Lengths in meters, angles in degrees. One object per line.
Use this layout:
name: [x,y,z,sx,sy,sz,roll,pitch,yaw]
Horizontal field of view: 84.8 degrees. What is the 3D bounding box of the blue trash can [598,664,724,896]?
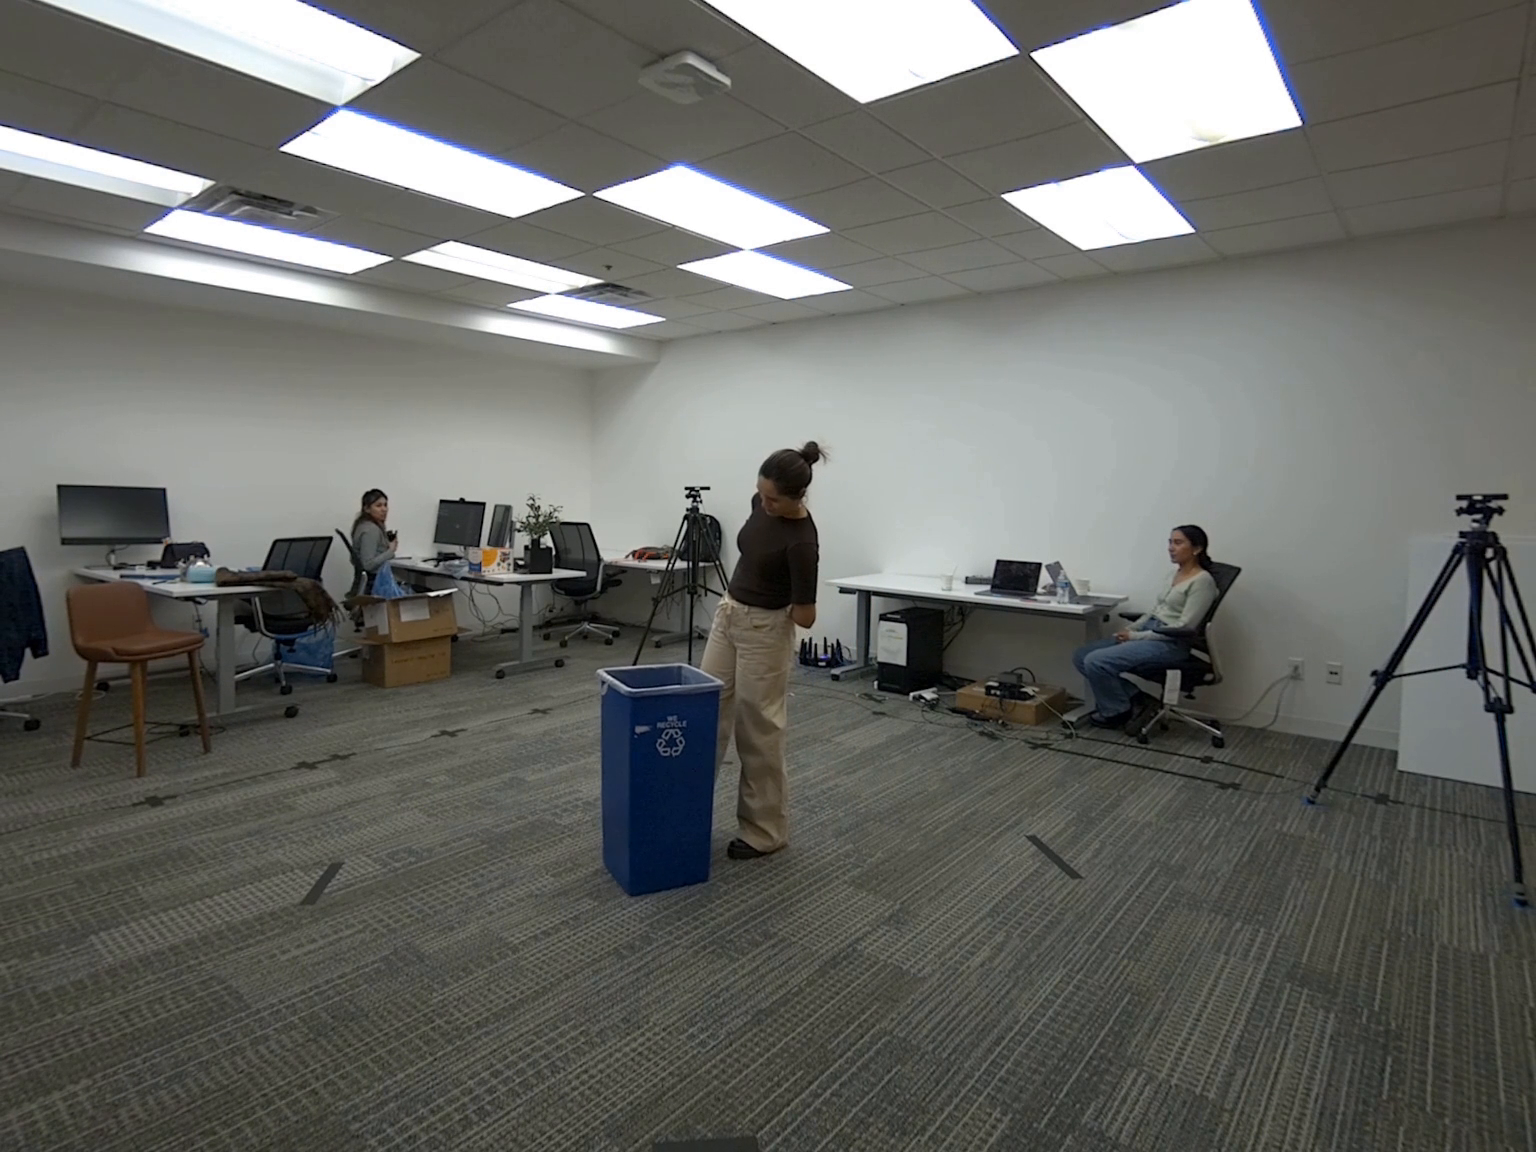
blue trash can: [-0.403,0.709,3.050,0.368,0.712,0.385,0,3,-29]
